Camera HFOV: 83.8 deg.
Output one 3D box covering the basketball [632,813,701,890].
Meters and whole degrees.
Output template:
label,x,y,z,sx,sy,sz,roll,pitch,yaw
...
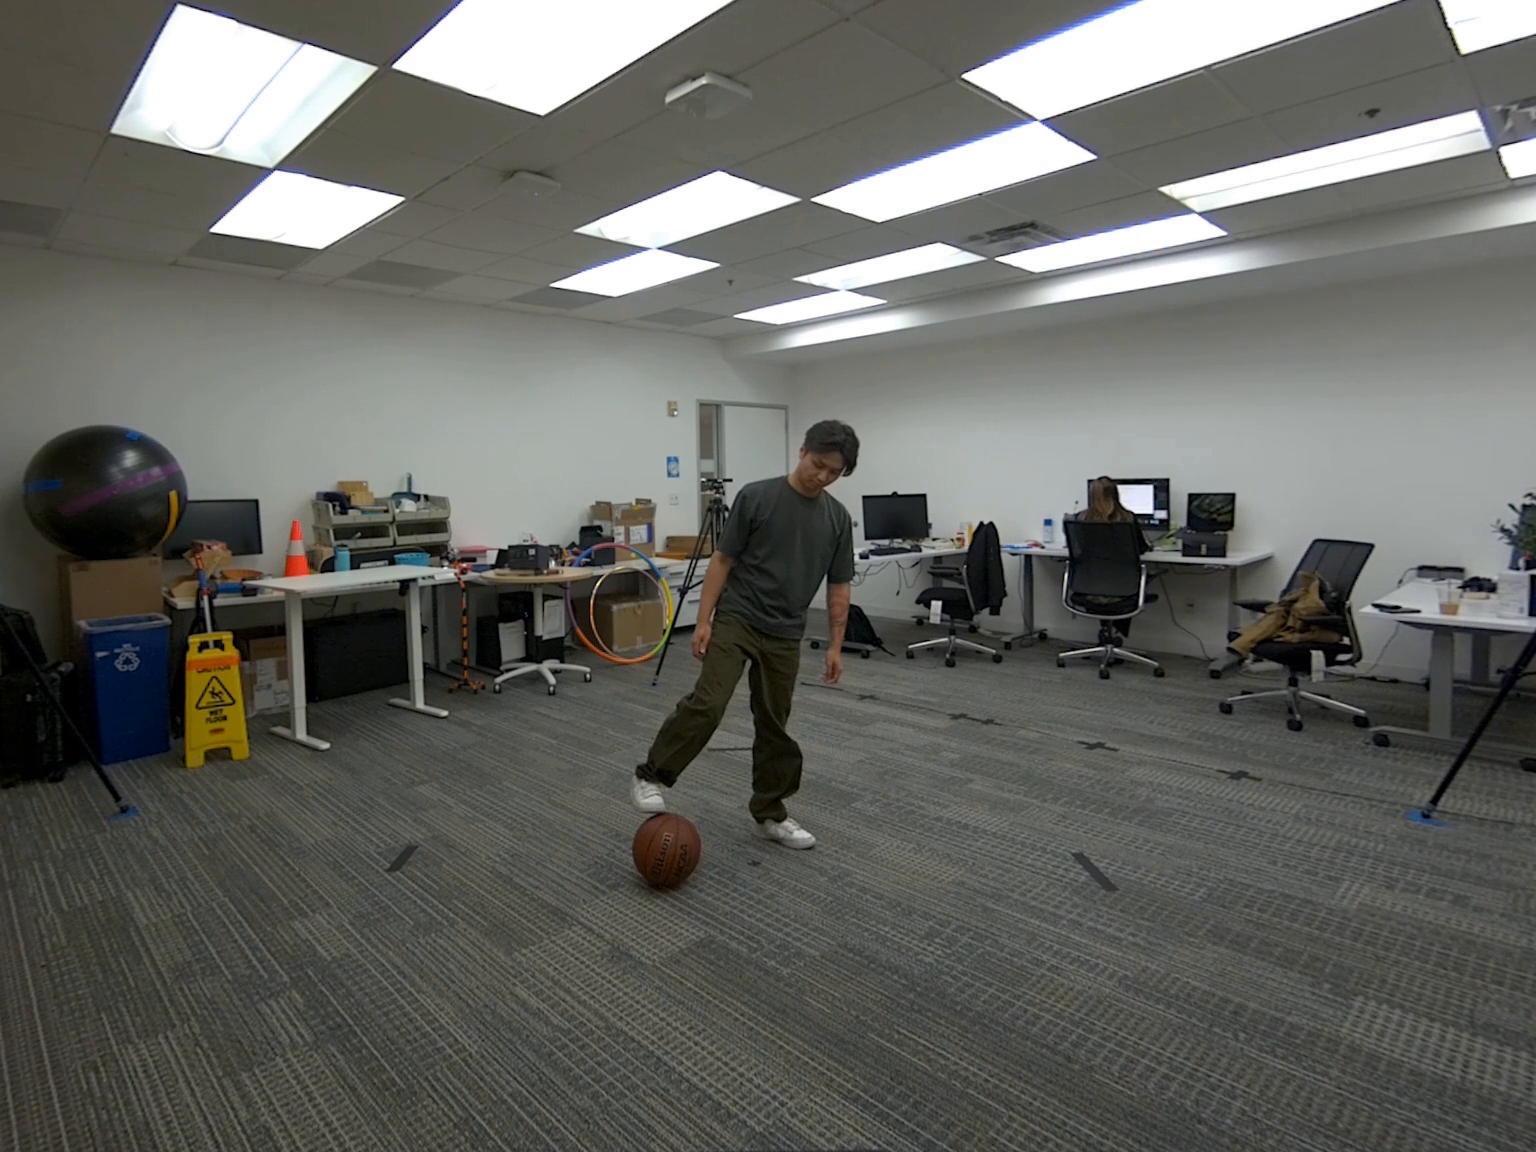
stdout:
label,x,y,z,sx,sy,sz,roll,pitch,yaw
basketball,-0.346,0.945,2.967,0.236,0.235,0.237,-1,5,-2
